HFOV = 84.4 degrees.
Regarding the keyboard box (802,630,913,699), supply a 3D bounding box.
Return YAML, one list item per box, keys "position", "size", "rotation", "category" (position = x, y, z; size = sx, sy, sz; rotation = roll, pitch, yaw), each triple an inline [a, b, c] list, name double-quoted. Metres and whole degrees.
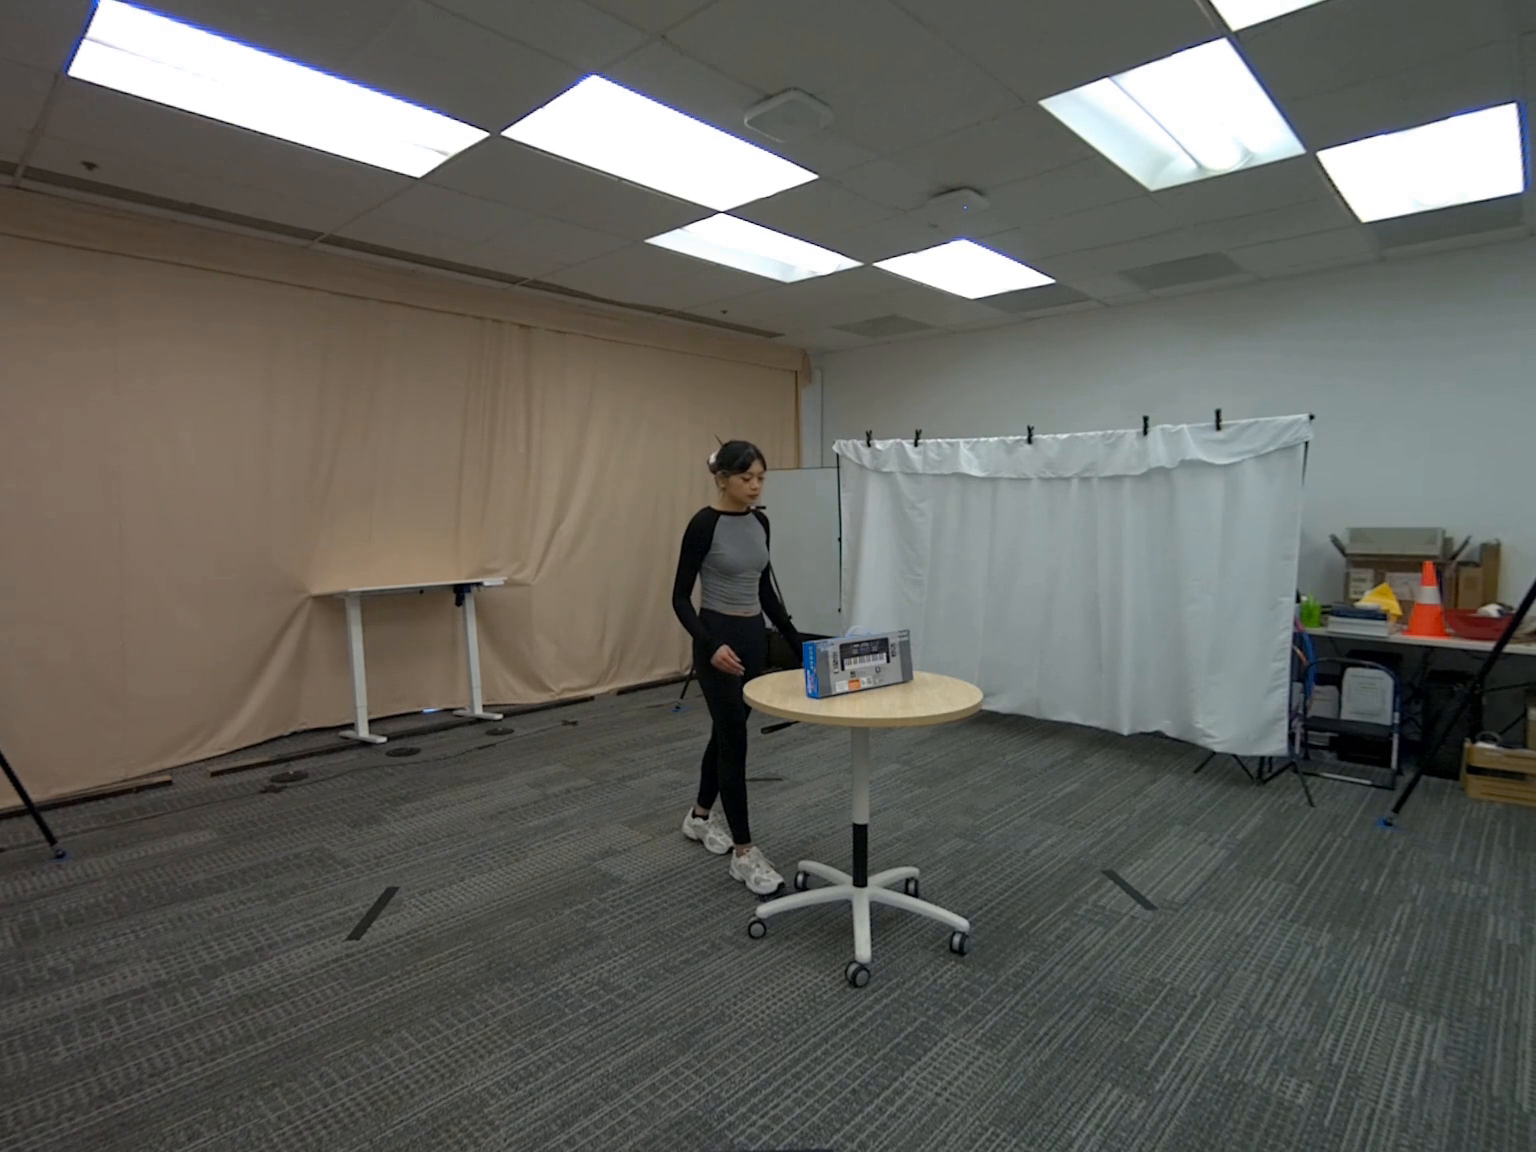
- position: [0.305, 0.283, 2.745]
  size: [0.424, 0.176, 0.061]
  rotation: [-3, -2, -37]
  category: "keyboard box"
